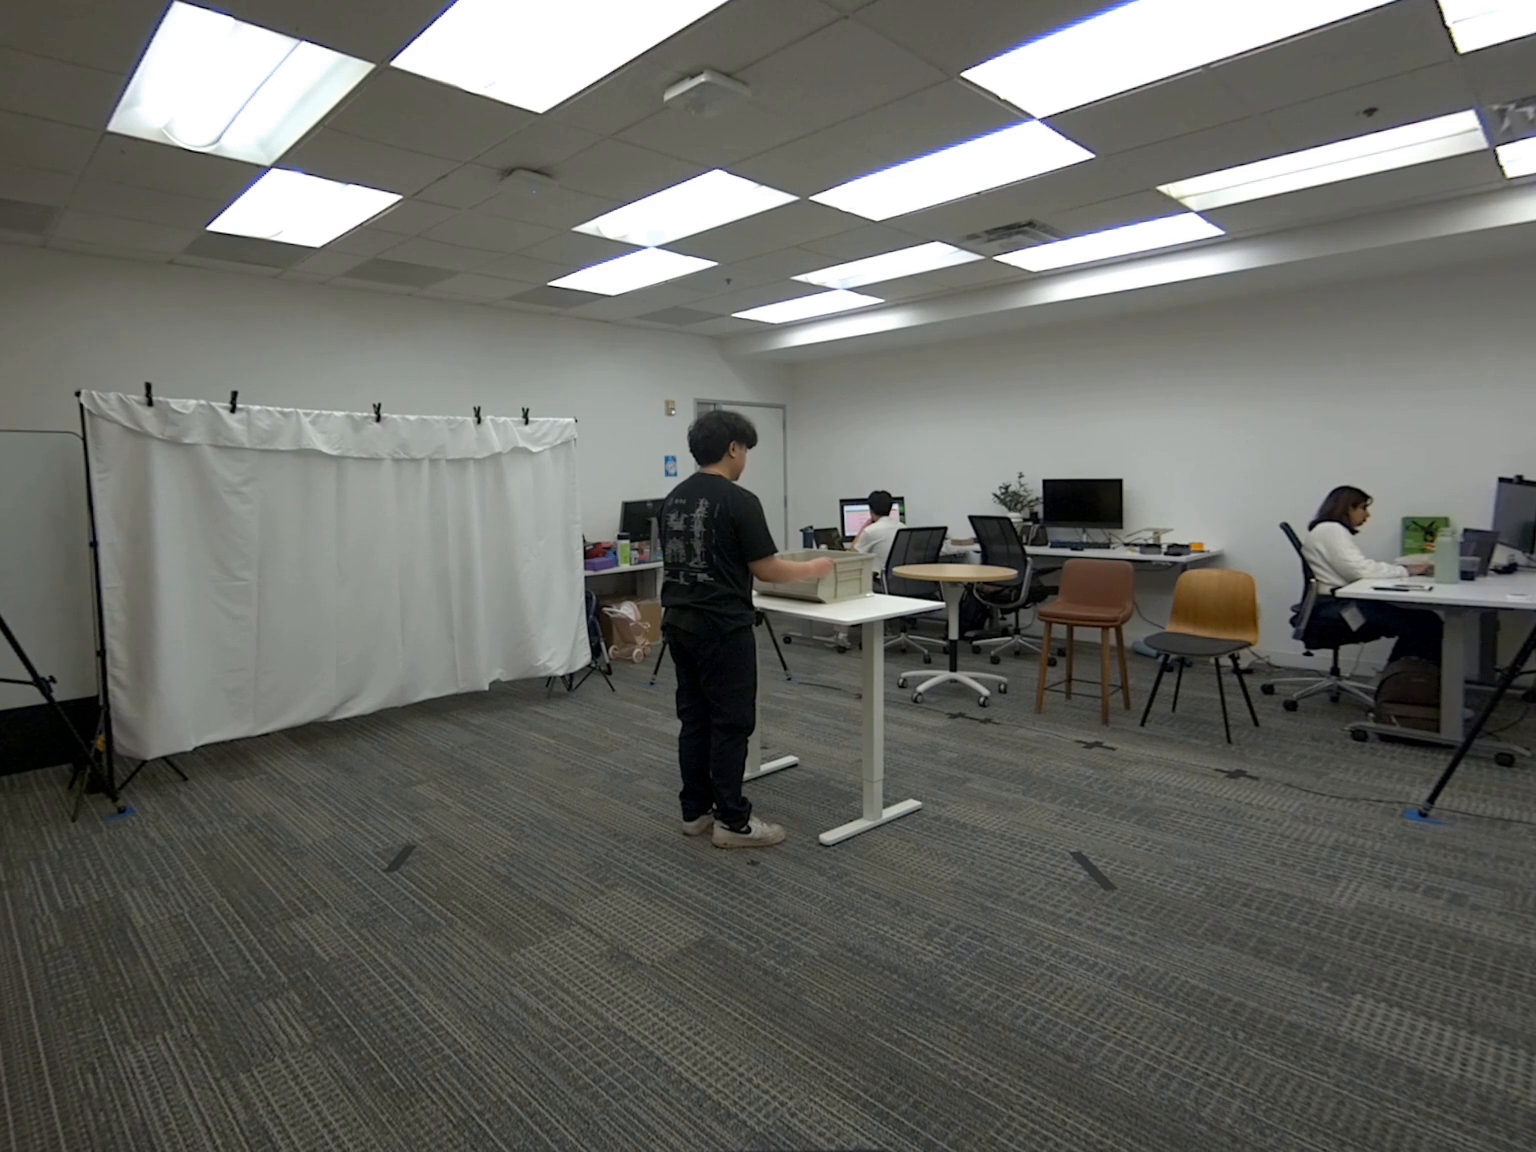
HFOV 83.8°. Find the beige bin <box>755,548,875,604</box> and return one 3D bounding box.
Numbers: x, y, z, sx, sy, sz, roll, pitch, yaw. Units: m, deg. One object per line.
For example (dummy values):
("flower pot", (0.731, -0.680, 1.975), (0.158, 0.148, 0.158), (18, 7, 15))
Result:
("beige bin", (0.194, 0.000, 3.710), (0.367, 0.188, 0.435), (-6, 8, -42))
